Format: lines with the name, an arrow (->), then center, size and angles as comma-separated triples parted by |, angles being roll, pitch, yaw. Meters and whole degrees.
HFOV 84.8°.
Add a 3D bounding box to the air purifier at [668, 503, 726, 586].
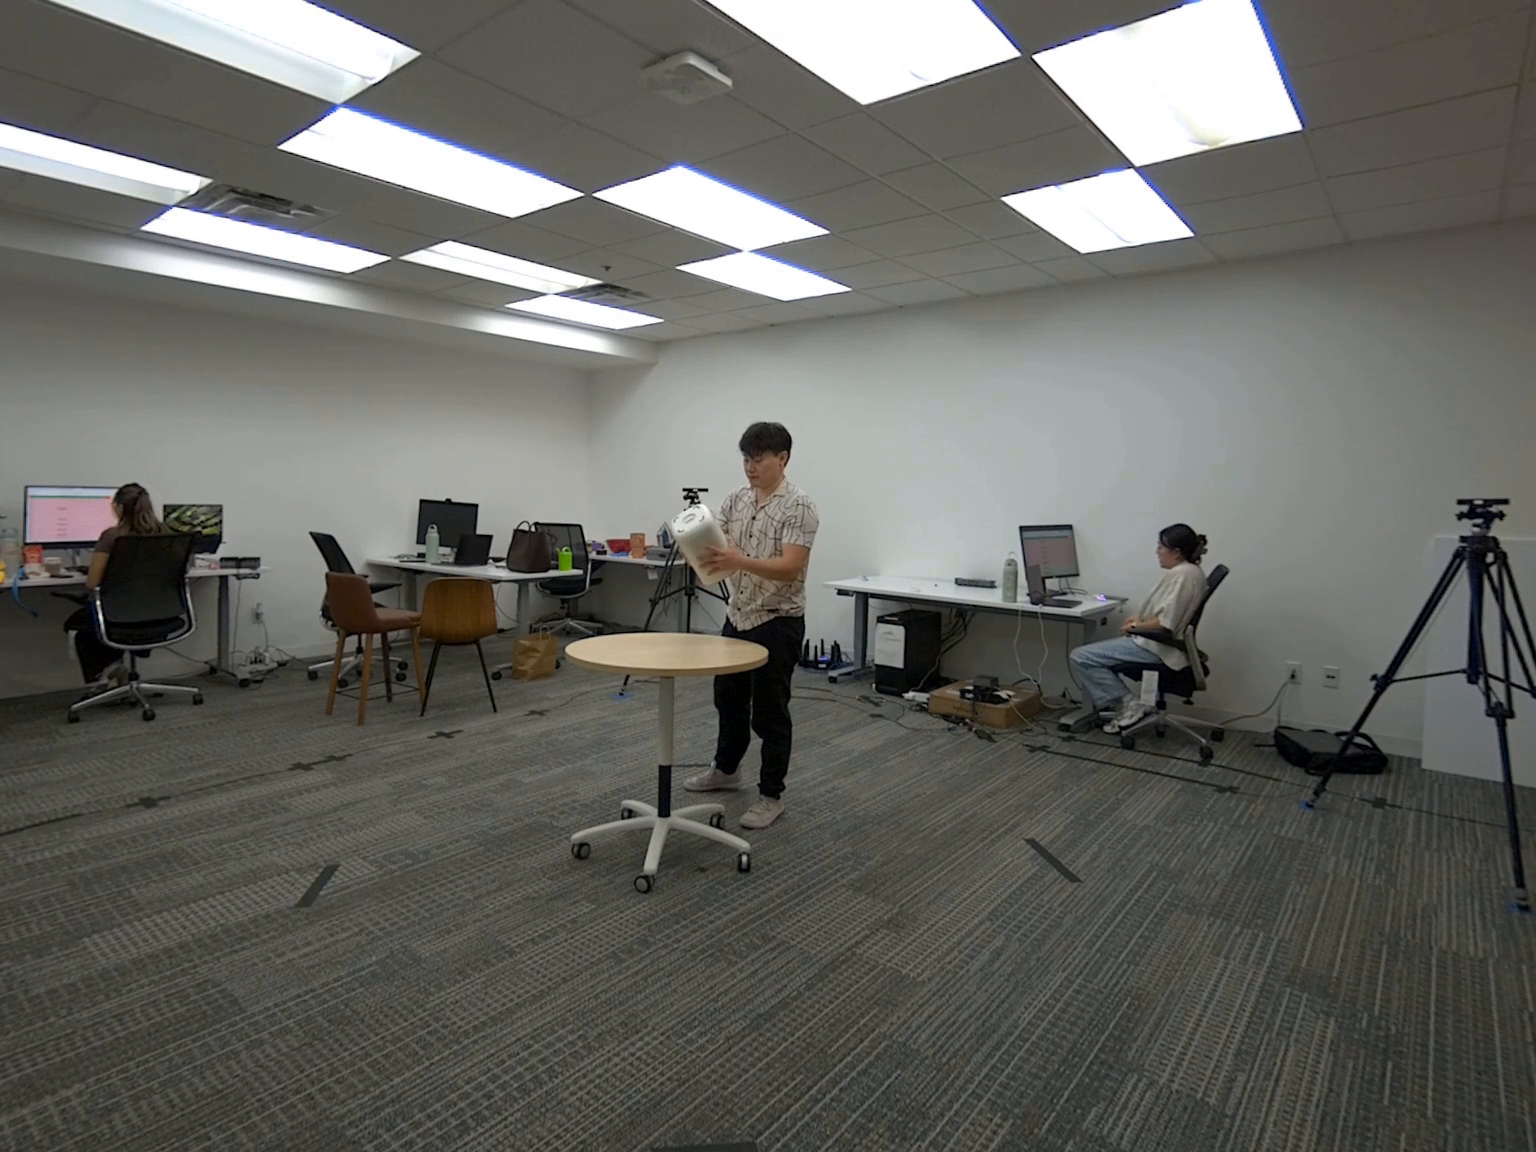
air purifier -> -0.263, -0.128, 3.285 | 0.171, 0.256, 0.177 | -27, 33, 0
